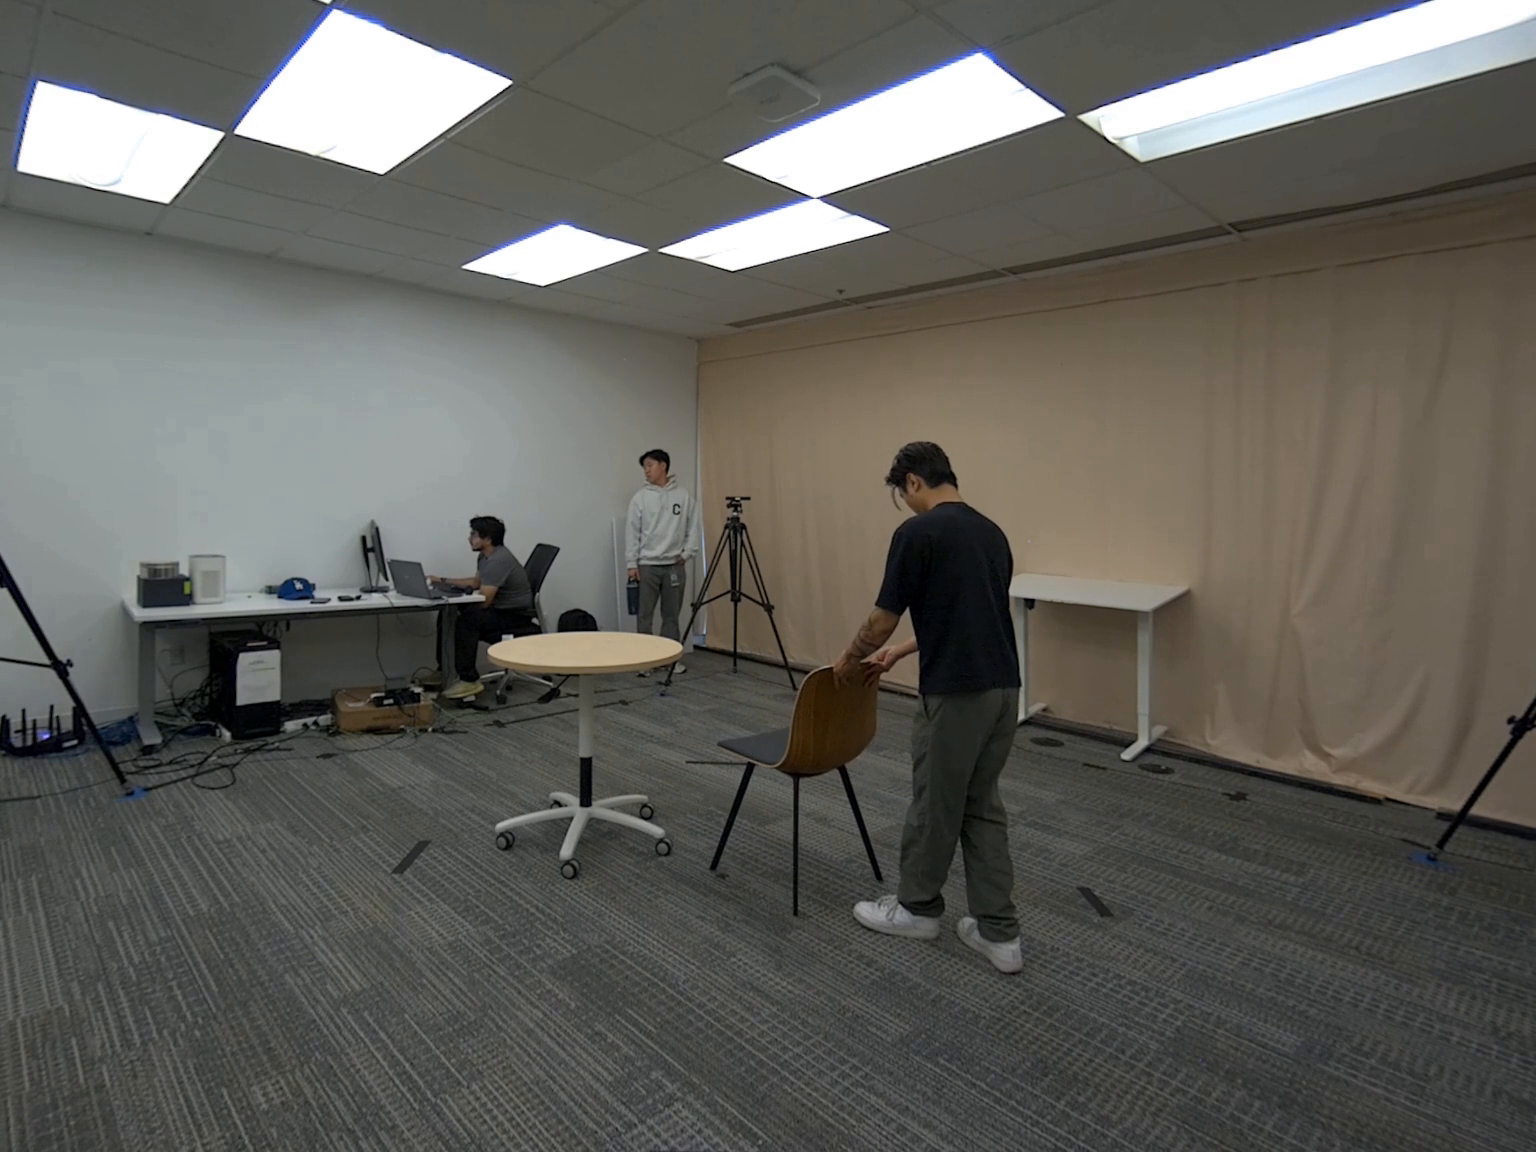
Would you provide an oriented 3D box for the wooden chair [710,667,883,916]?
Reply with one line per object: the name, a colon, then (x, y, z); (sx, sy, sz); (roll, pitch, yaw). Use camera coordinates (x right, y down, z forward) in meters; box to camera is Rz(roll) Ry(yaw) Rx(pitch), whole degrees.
wooden chair: (0.102, 0.684, 3.095); (0.467, 0.873, 0.537); (-2, 9, -42)
